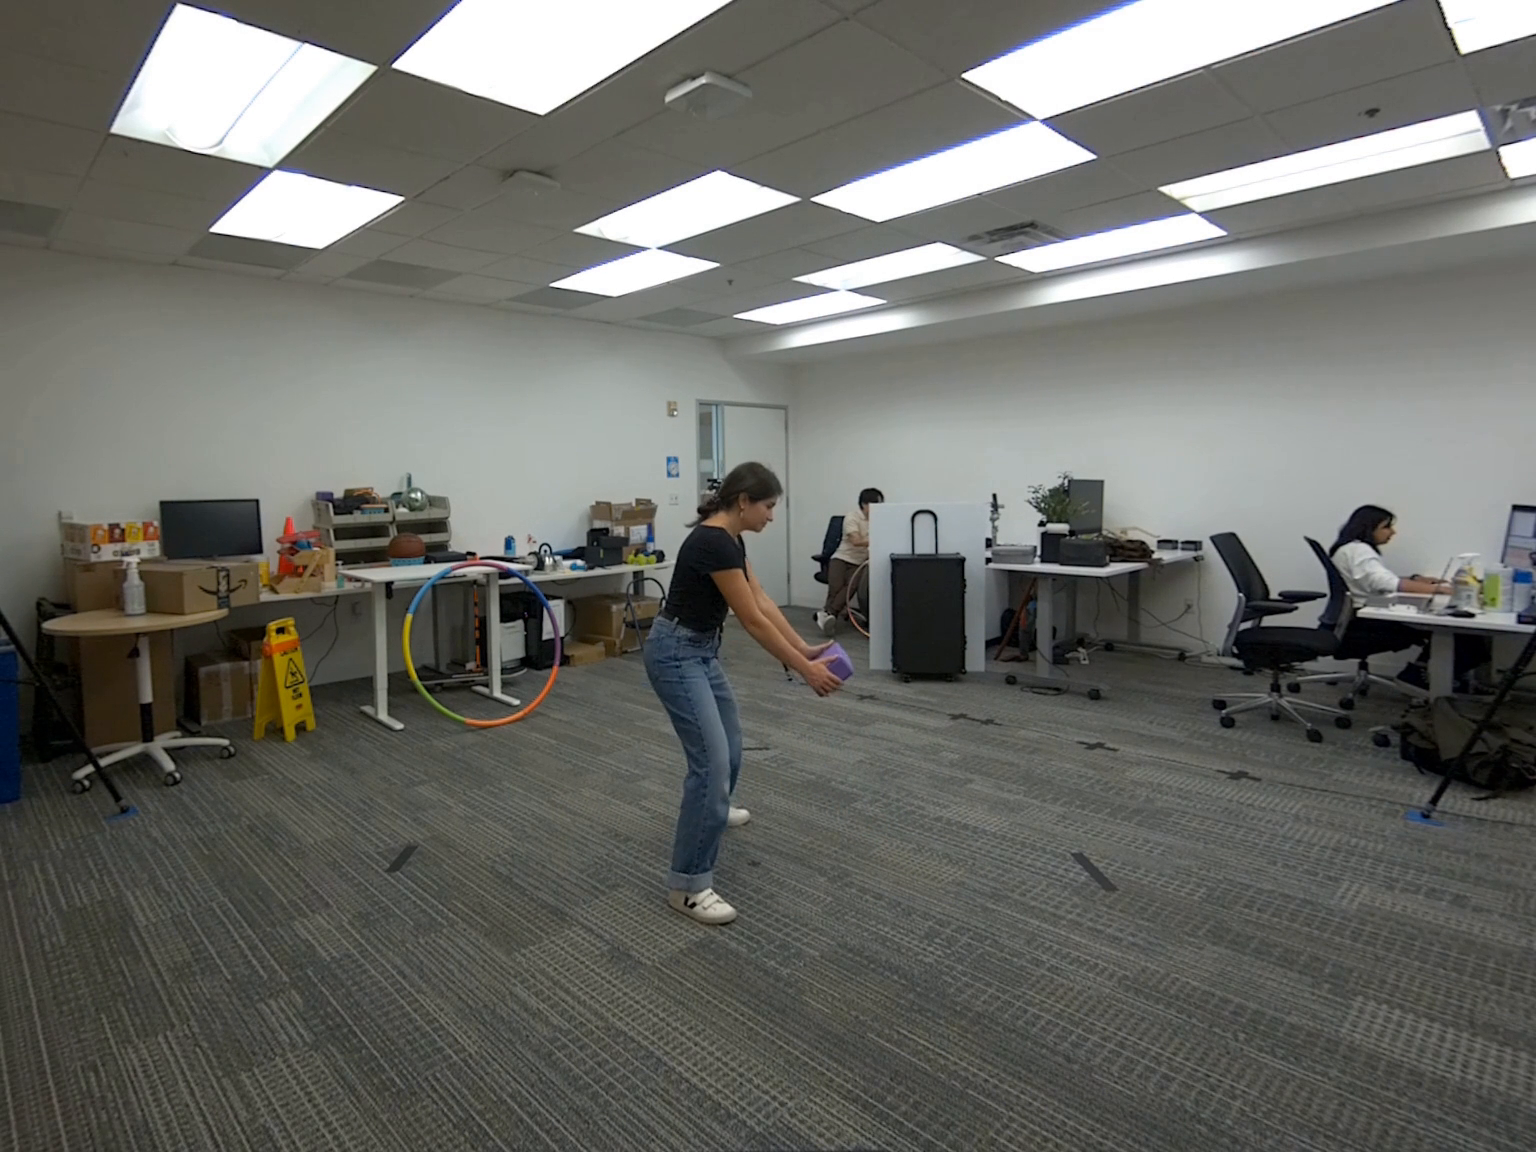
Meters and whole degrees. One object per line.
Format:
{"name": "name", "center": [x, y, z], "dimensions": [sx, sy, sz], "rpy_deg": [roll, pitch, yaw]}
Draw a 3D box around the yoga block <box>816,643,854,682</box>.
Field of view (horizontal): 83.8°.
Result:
{"name": "yoga block", "center": [0.207, 0.333, 3.031], "dimensions": [0.149, 0.076, 0.230], "rpy_deg": [-37, 7, 5]}
